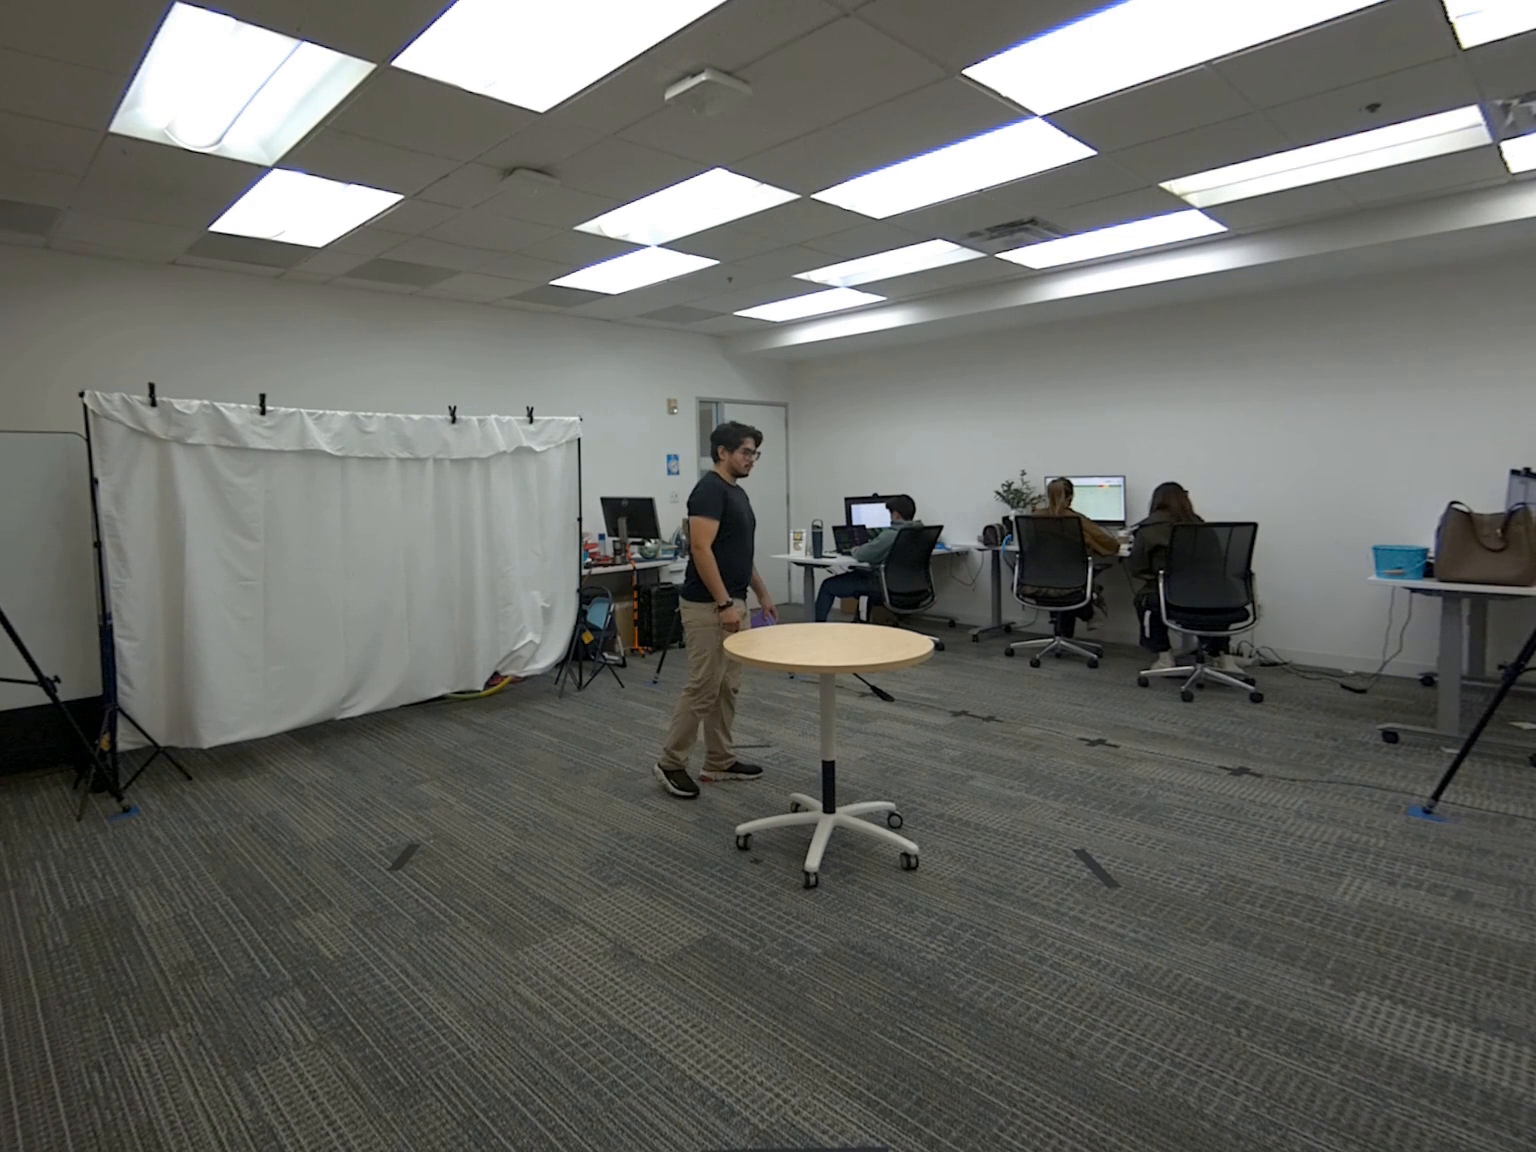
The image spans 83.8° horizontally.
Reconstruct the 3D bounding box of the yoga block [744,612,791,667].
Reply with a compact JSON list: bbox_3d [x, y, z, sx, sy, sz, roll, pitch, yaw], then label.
[{"bbox_3d":[-0.014,0.293,4.137,0.148,0.233,0.075,-24,-15,-5],"label":"yoga block"}]
